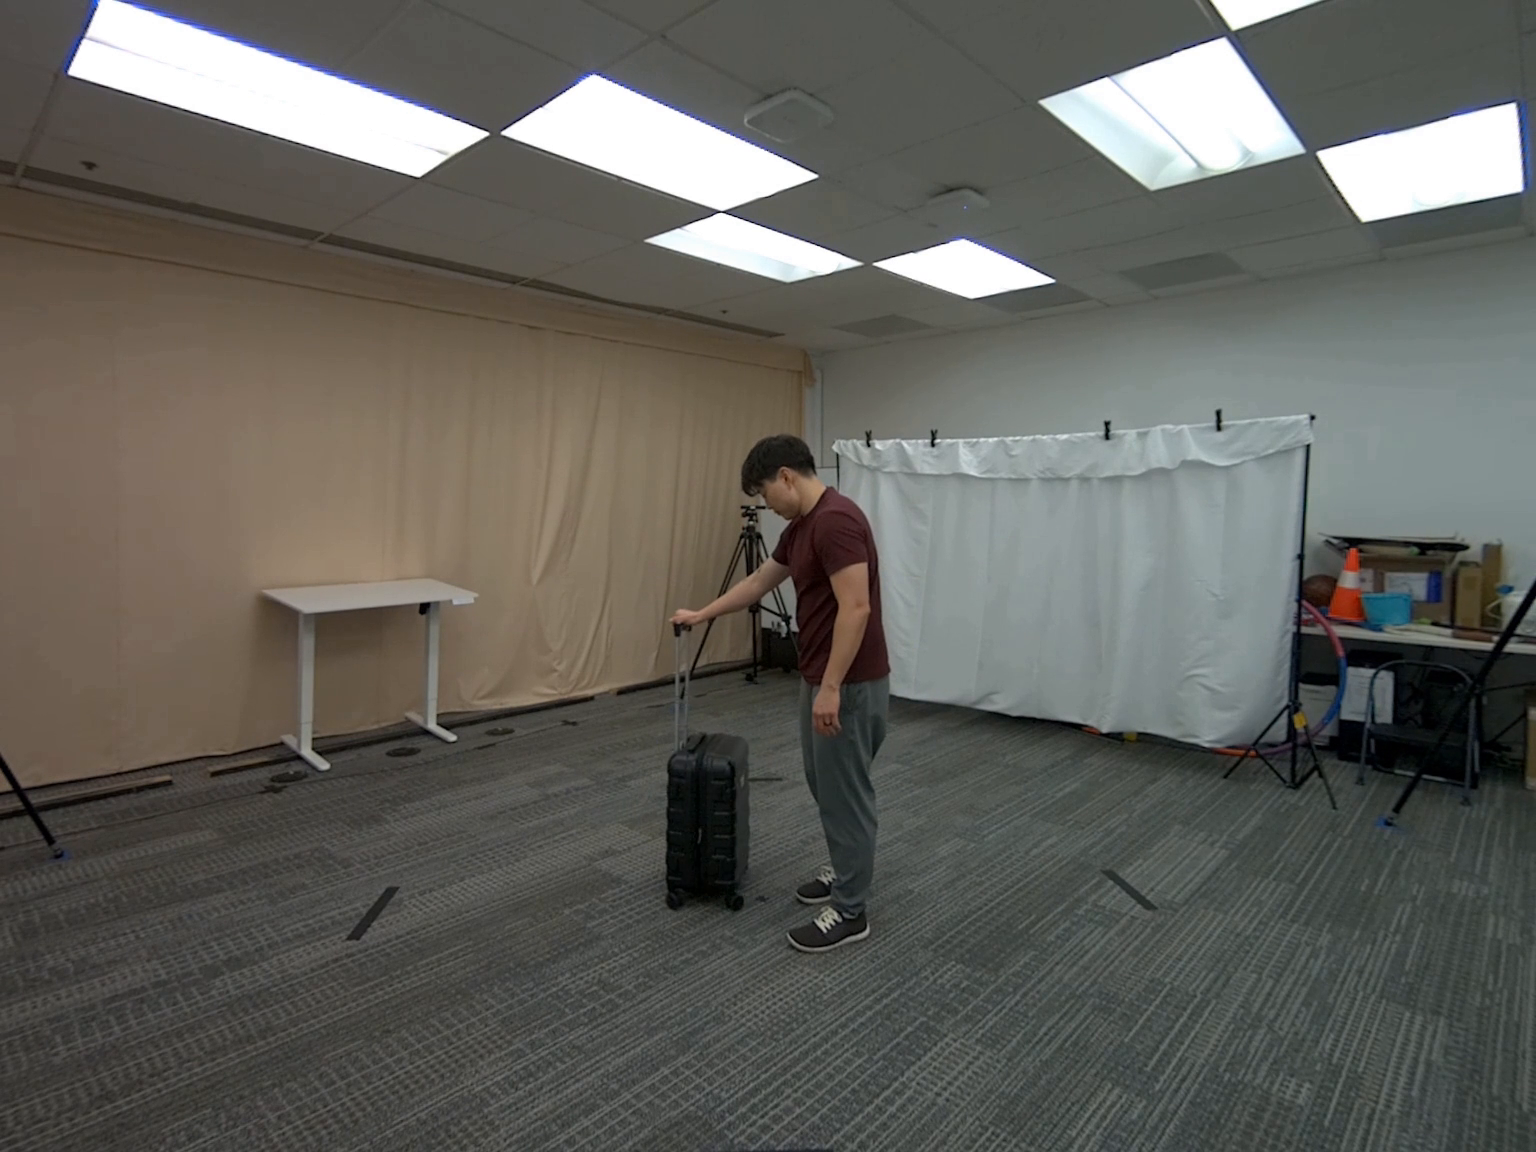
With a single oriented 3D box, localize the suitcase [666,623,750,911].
[{"bbox_3d":[-0.201,0.663,3.041,0.259,0.976,0.381,2,3,7],"label":"suitcase"}]
